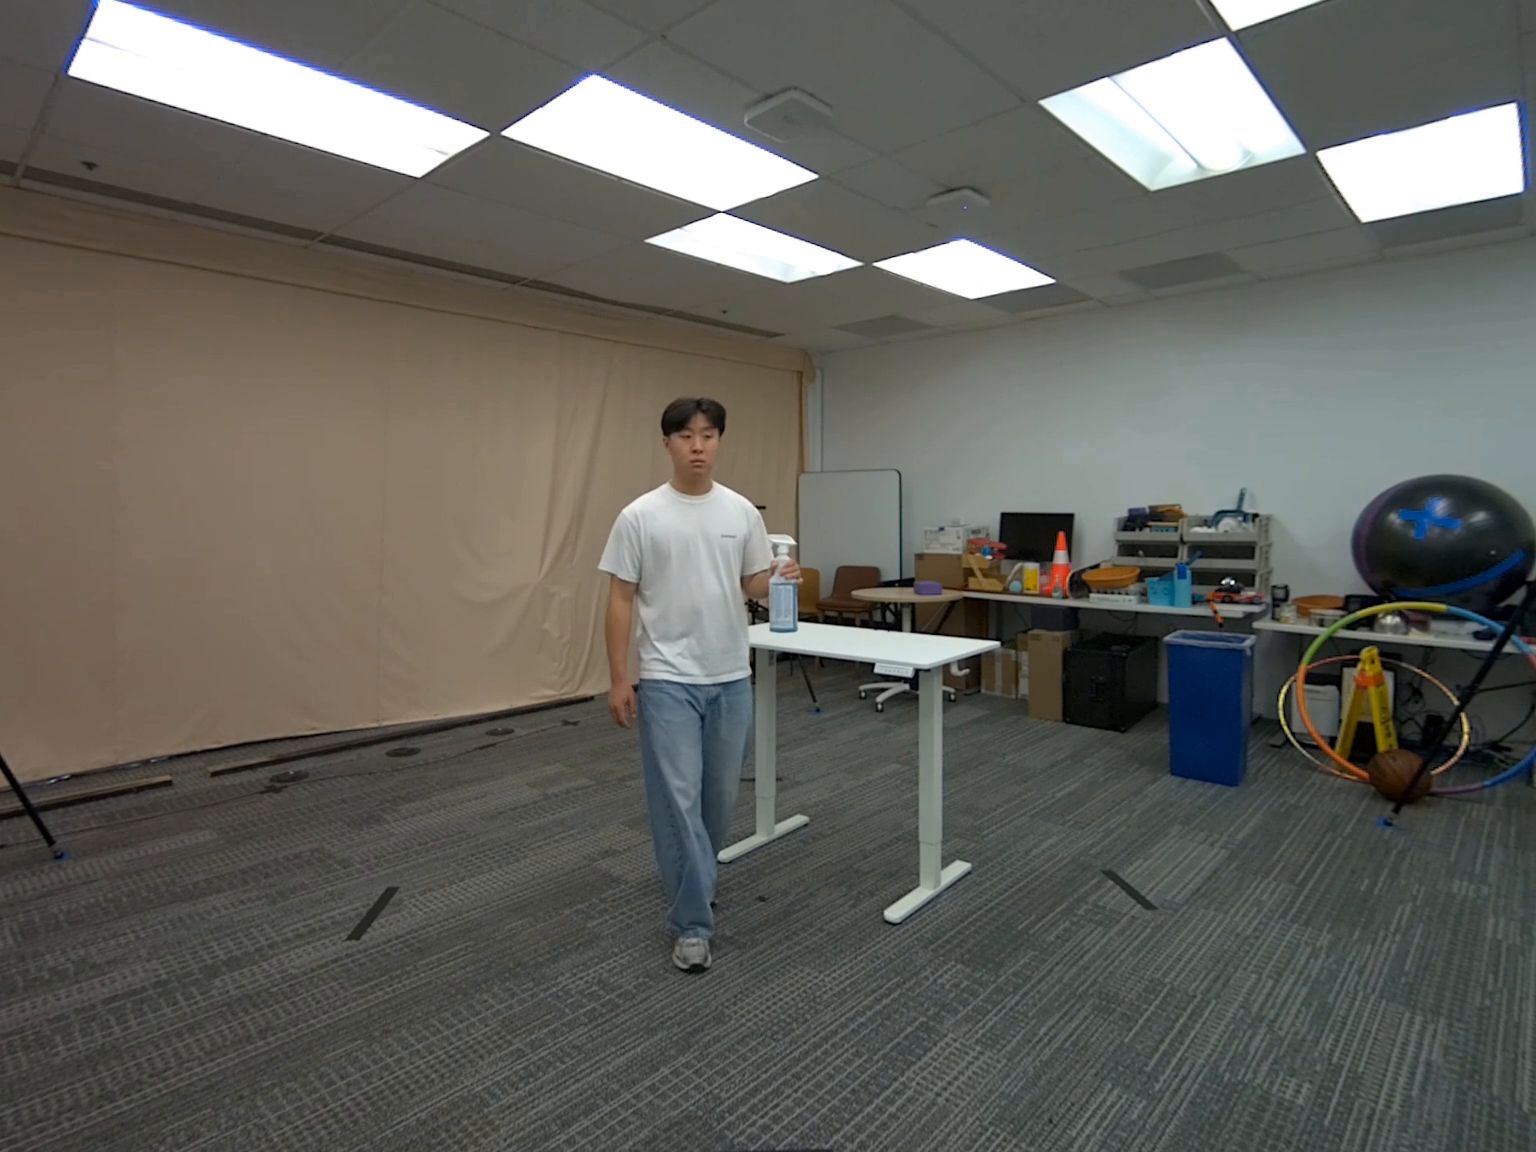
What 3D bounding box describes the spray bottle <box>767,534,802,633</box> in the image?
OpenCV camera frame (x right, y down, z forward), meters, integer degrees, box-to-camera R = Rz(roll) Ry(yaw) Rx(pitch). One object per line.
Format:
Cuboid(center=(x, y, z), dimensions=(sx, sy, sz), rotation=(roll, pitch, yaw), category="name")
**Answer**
Cuboid(center=(0.048, 0.022, 2.561), dimensions=(0.093, 0.297, 0.084), rotation=(-1, -1, 40), category="spray bottle")
